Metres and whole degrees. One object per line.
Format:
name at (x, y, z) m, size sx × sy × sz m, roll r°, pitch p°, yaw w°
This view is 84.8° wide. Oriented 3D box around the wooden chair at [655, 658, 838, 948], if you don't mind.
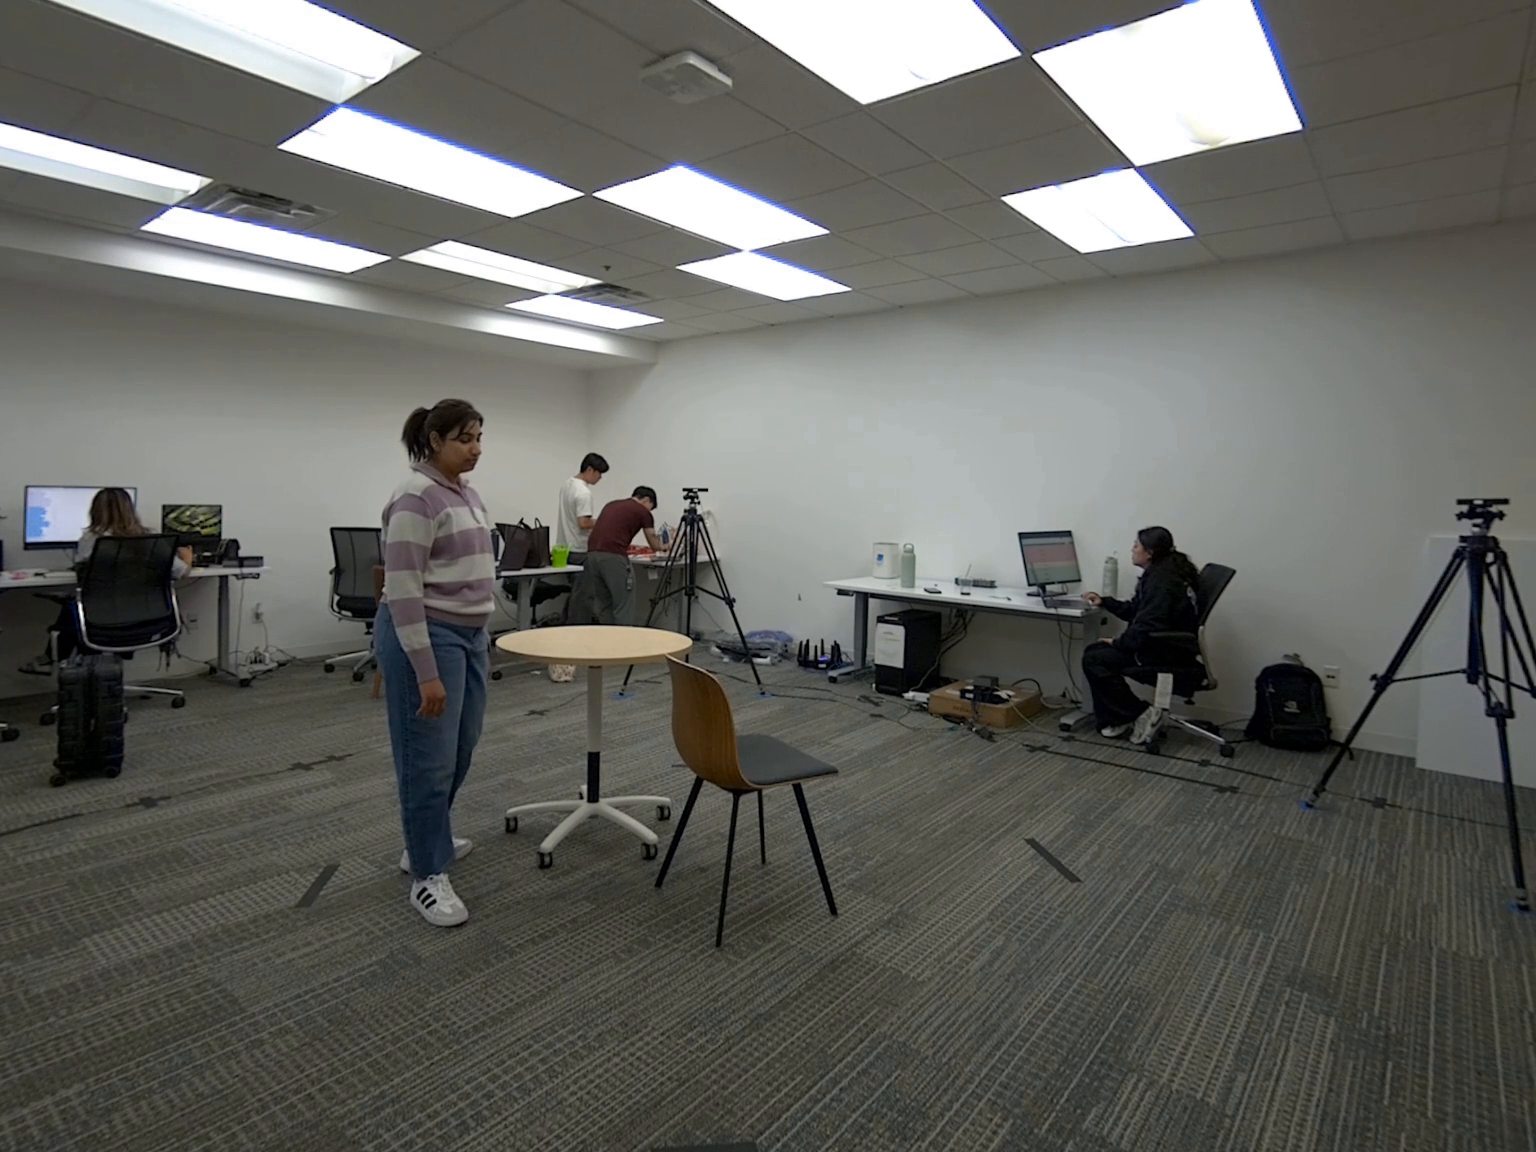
wooden chair at (-0.072, 0.673, 2.848) m, size 0.510 × 0.873 × 0.493 m, roll -6°, pitch 6°, yaw -31°
